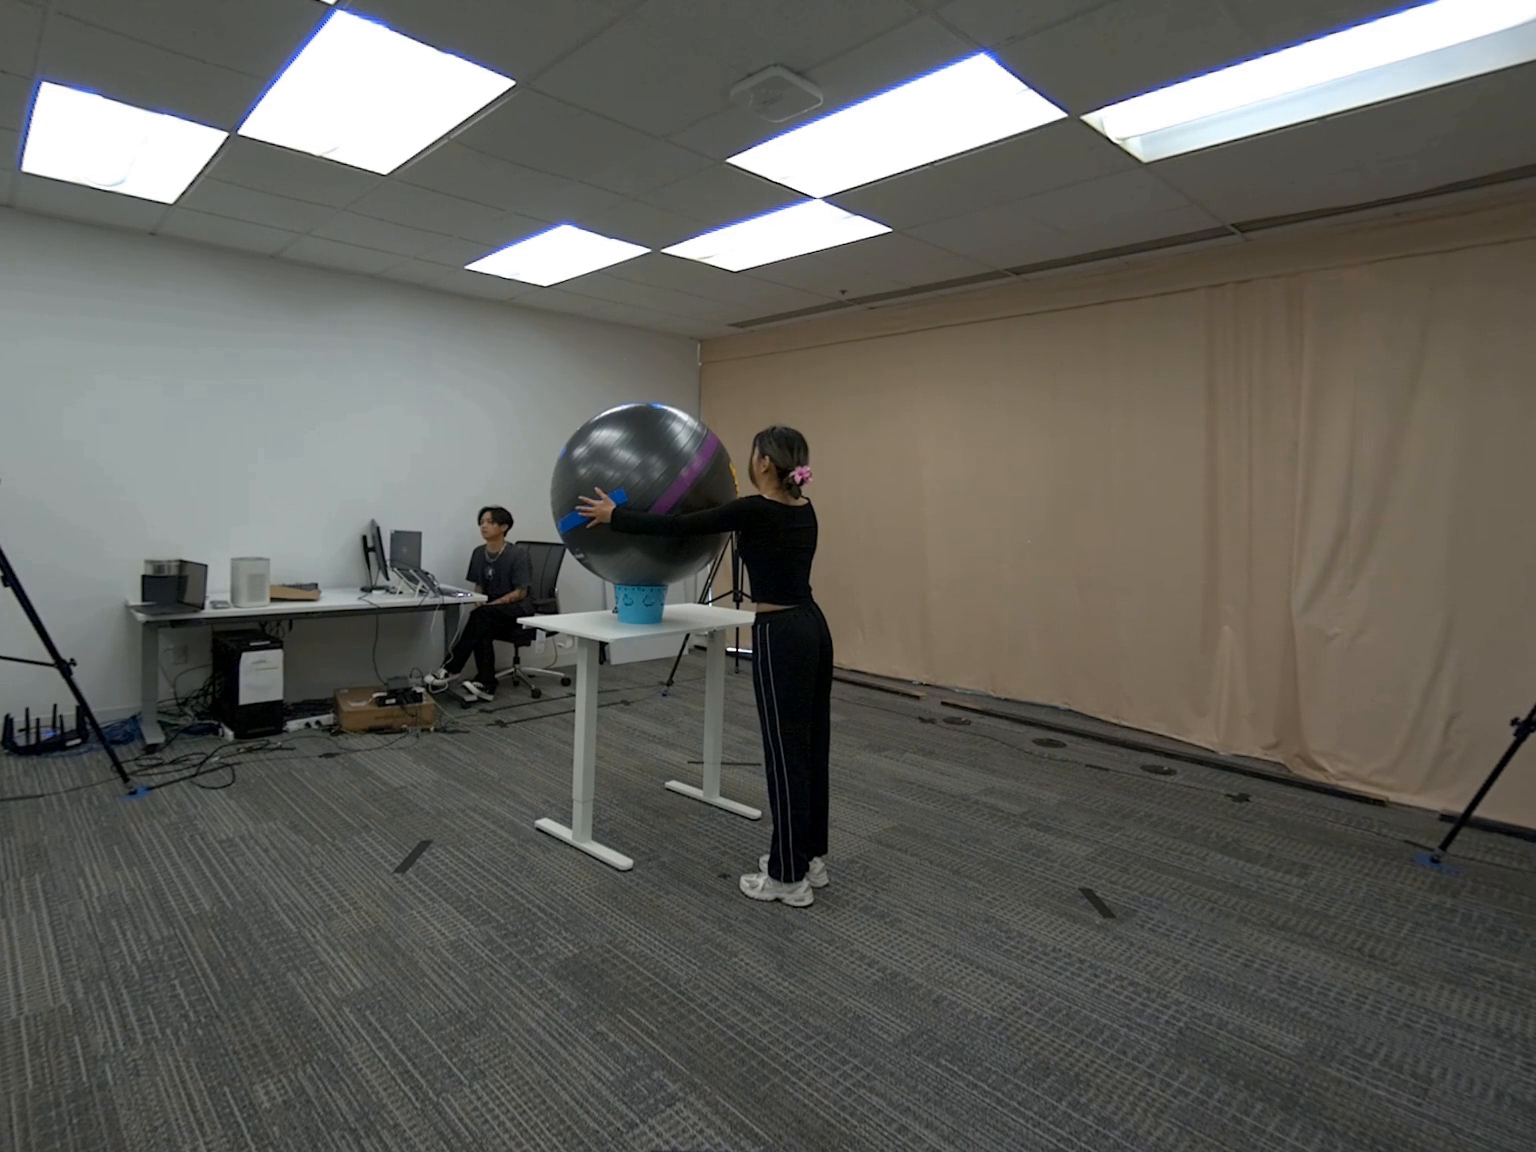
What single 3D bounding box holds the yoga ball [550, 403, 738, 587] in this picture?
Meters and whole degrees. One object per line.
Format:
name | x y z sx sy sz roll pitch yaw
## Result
yoga ball | -0.510 -0.322 3.447 0.757 0.756 0.760 1 4 -1
